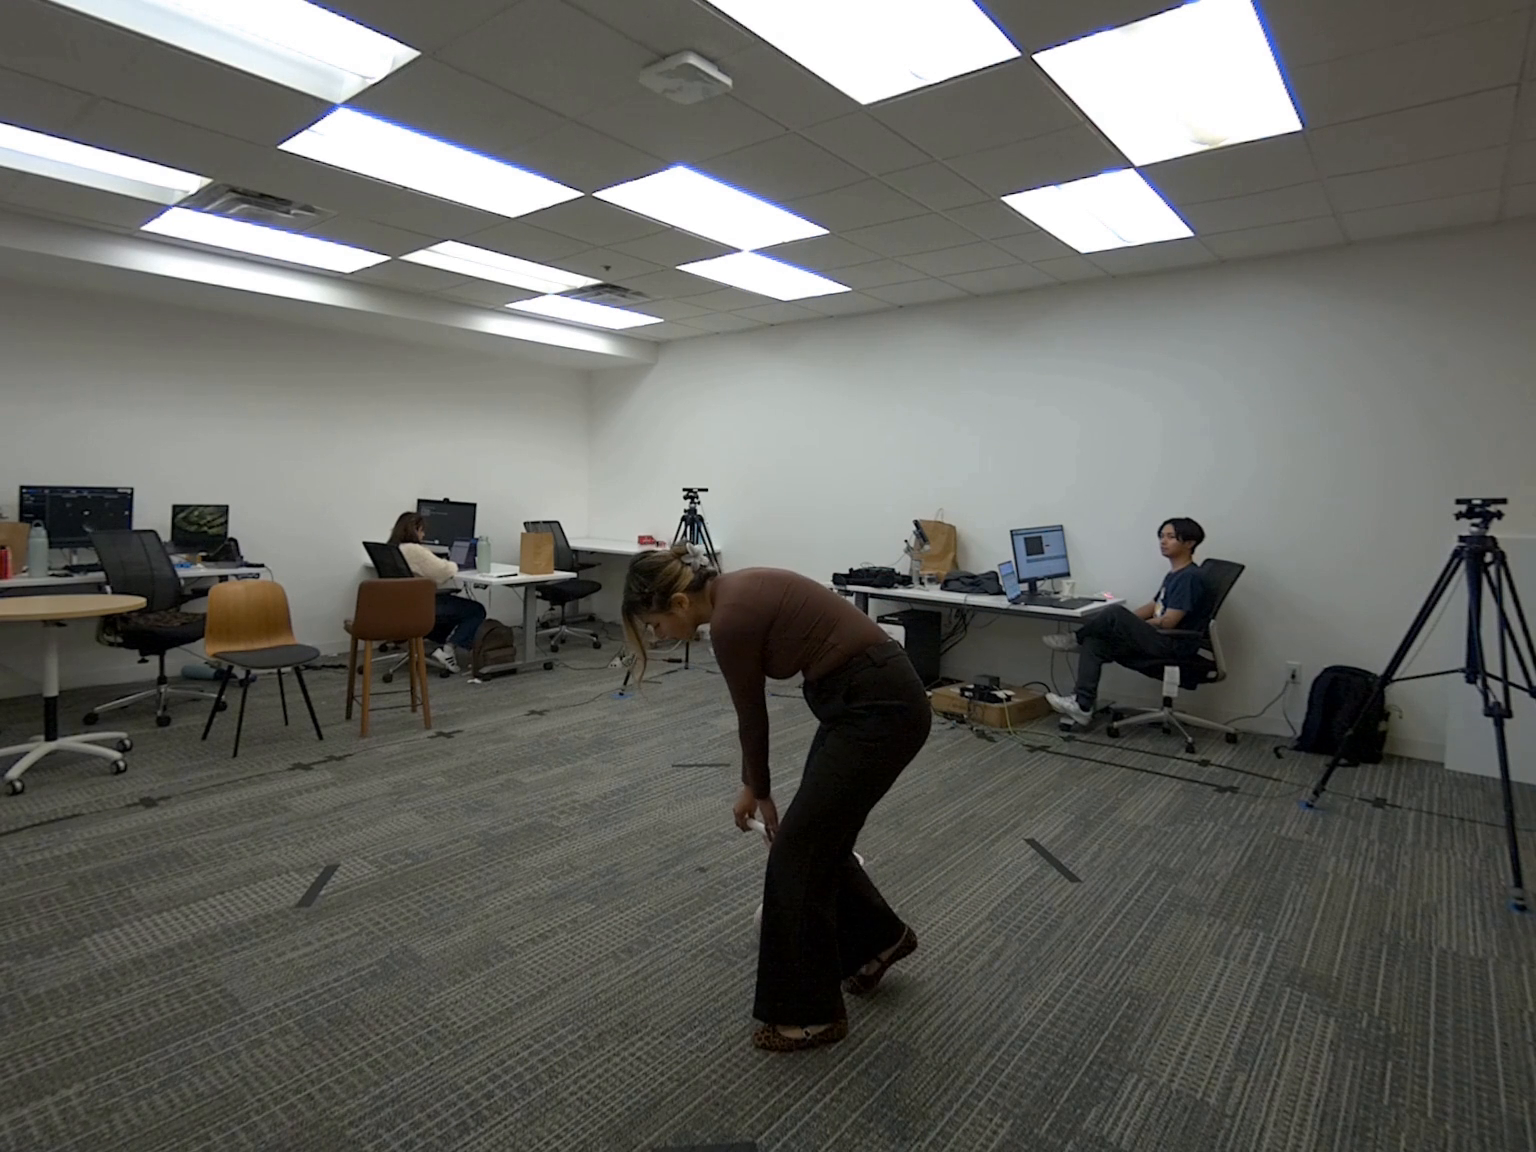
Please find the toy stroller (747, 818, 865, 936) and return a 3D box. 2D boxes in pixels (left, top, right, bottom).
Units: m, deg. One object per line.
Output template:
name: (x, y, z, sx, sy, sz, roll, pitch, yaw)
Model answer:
toy stroller: (0.127, 0.897, 2.580, 0.335, 0.527, 0.291, -21, 17, -35)
